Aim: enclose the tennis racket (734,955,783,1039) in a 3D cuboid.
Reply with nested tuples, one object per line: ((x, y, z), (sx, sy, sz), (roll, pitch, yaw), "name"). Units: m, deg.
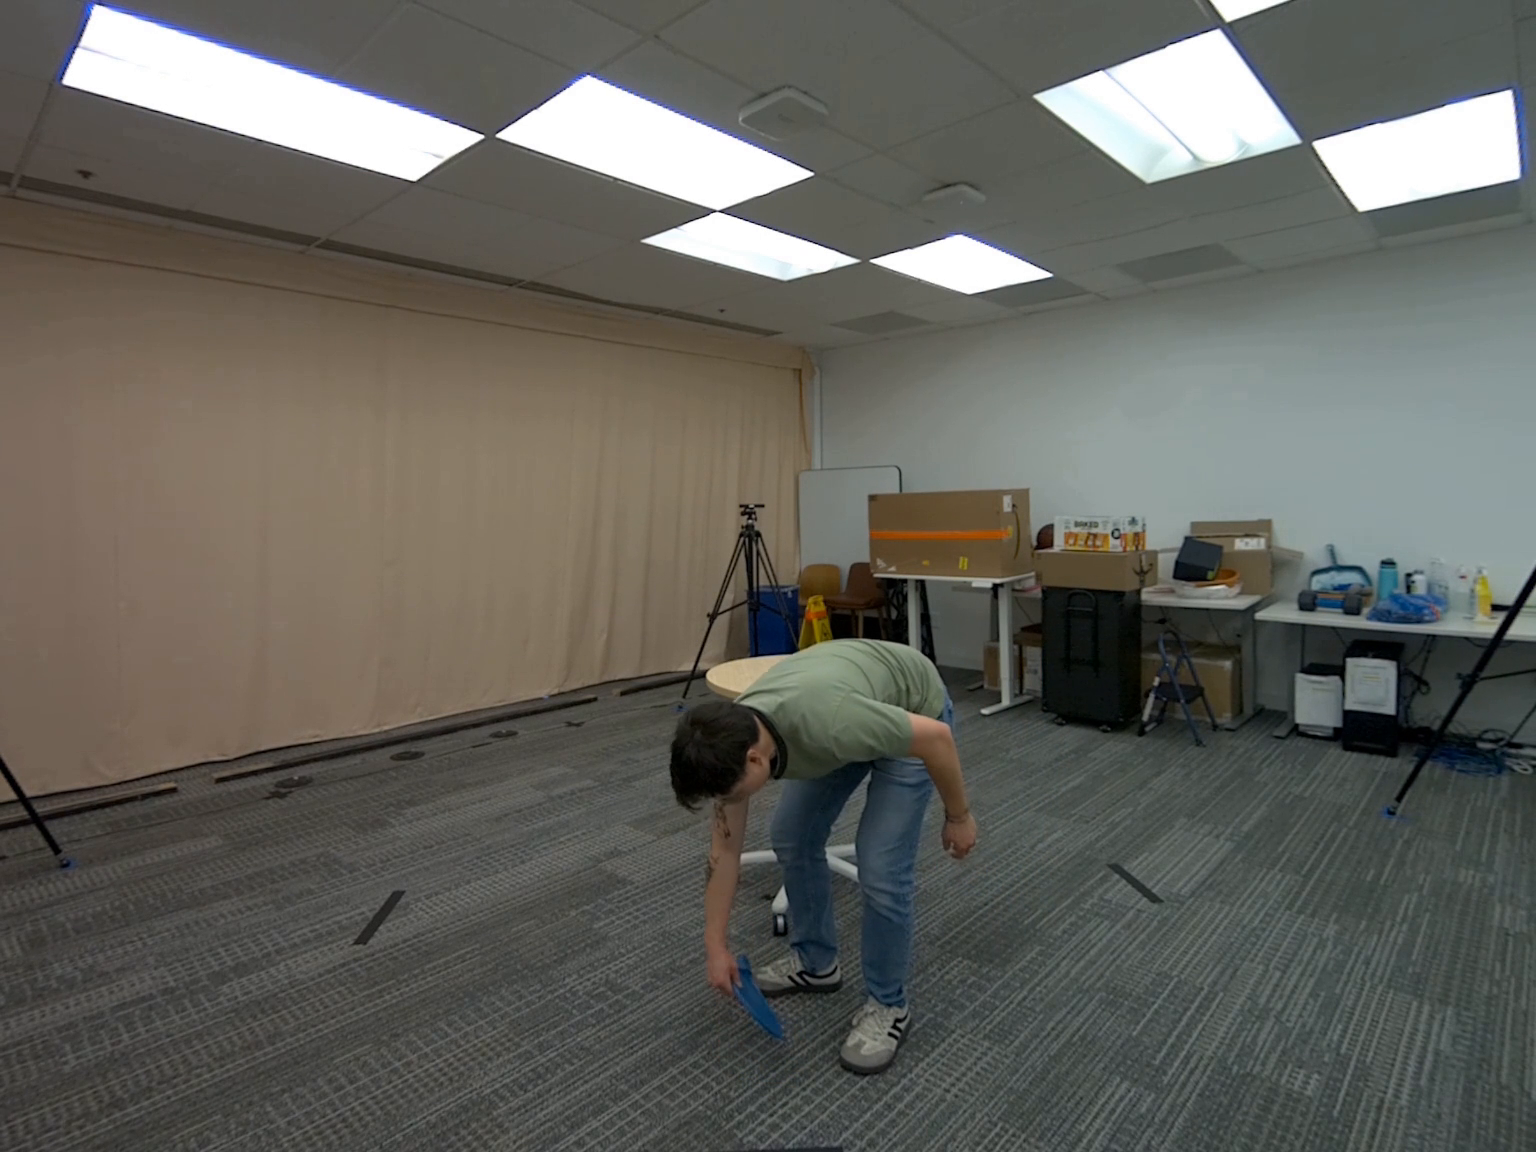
((-0.052, 1.090, 2.216), (0.032, 0.215, 0.431), (-43, -3, -7), "tennis racket")
